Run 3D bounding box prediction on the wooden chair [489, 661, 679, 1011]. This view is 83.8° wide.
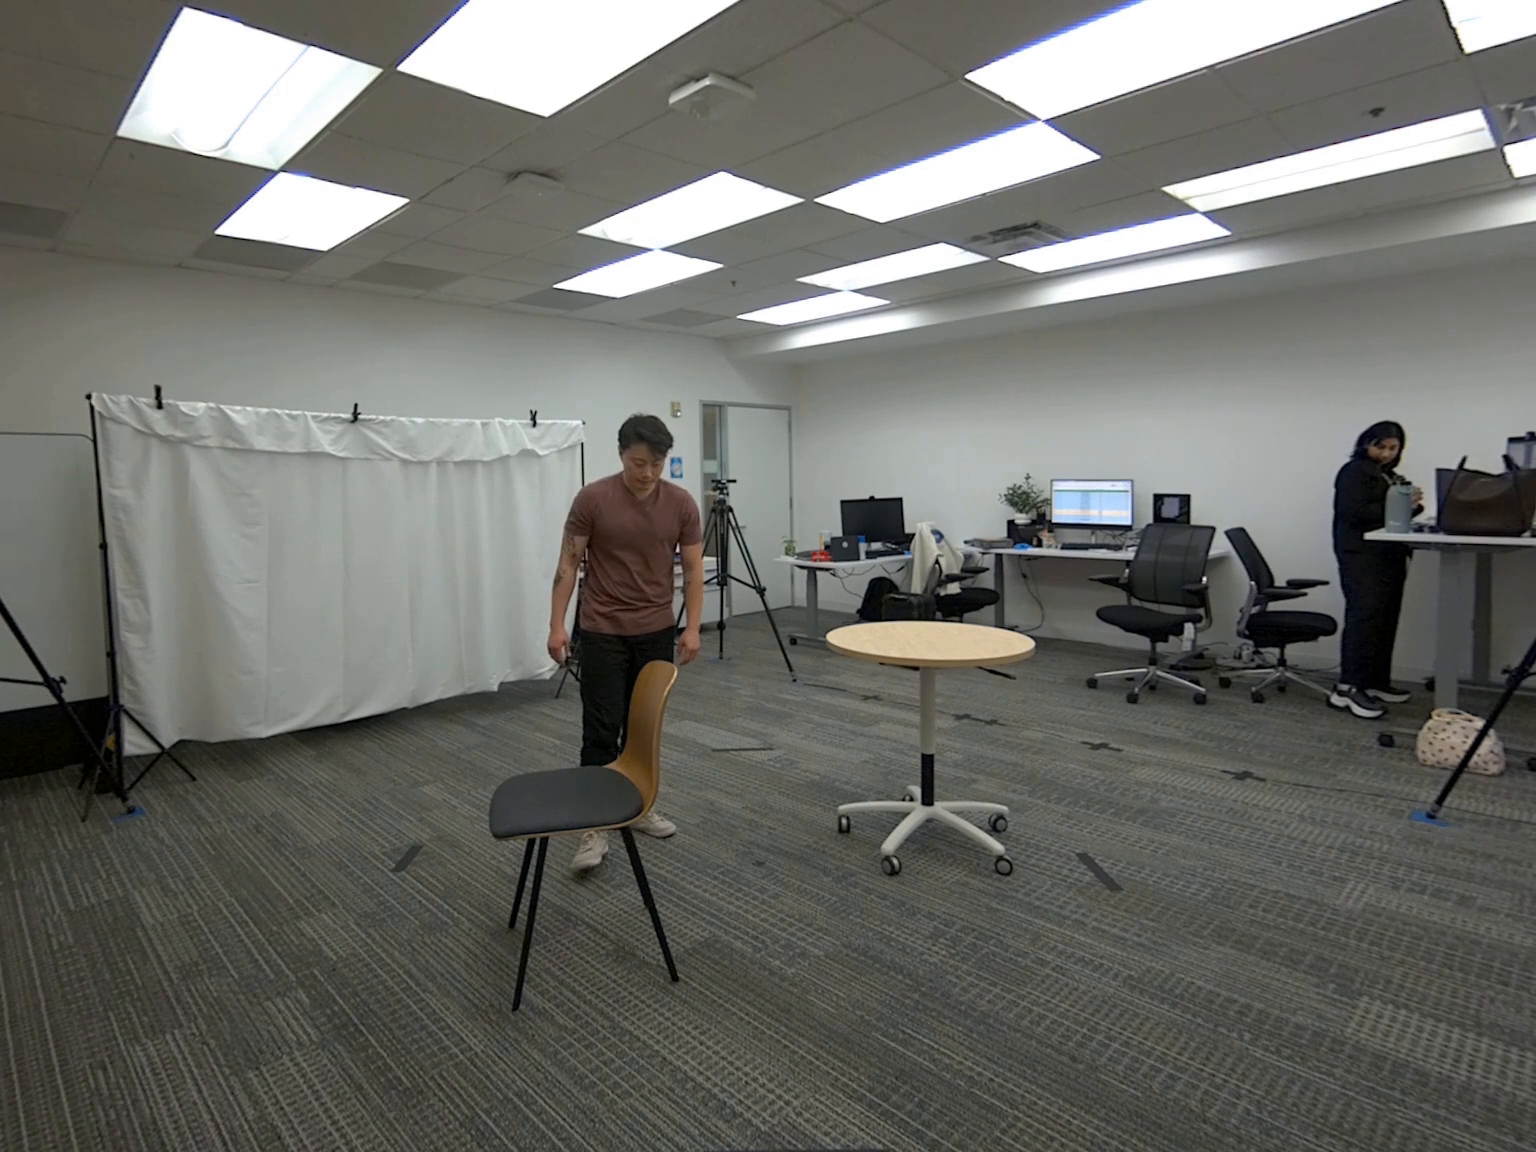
[{"bbox_3d":[-0.548,0.701,2.510,0.514,0.875,0.487,2,3,-18],"label":"wooden chair"}]
